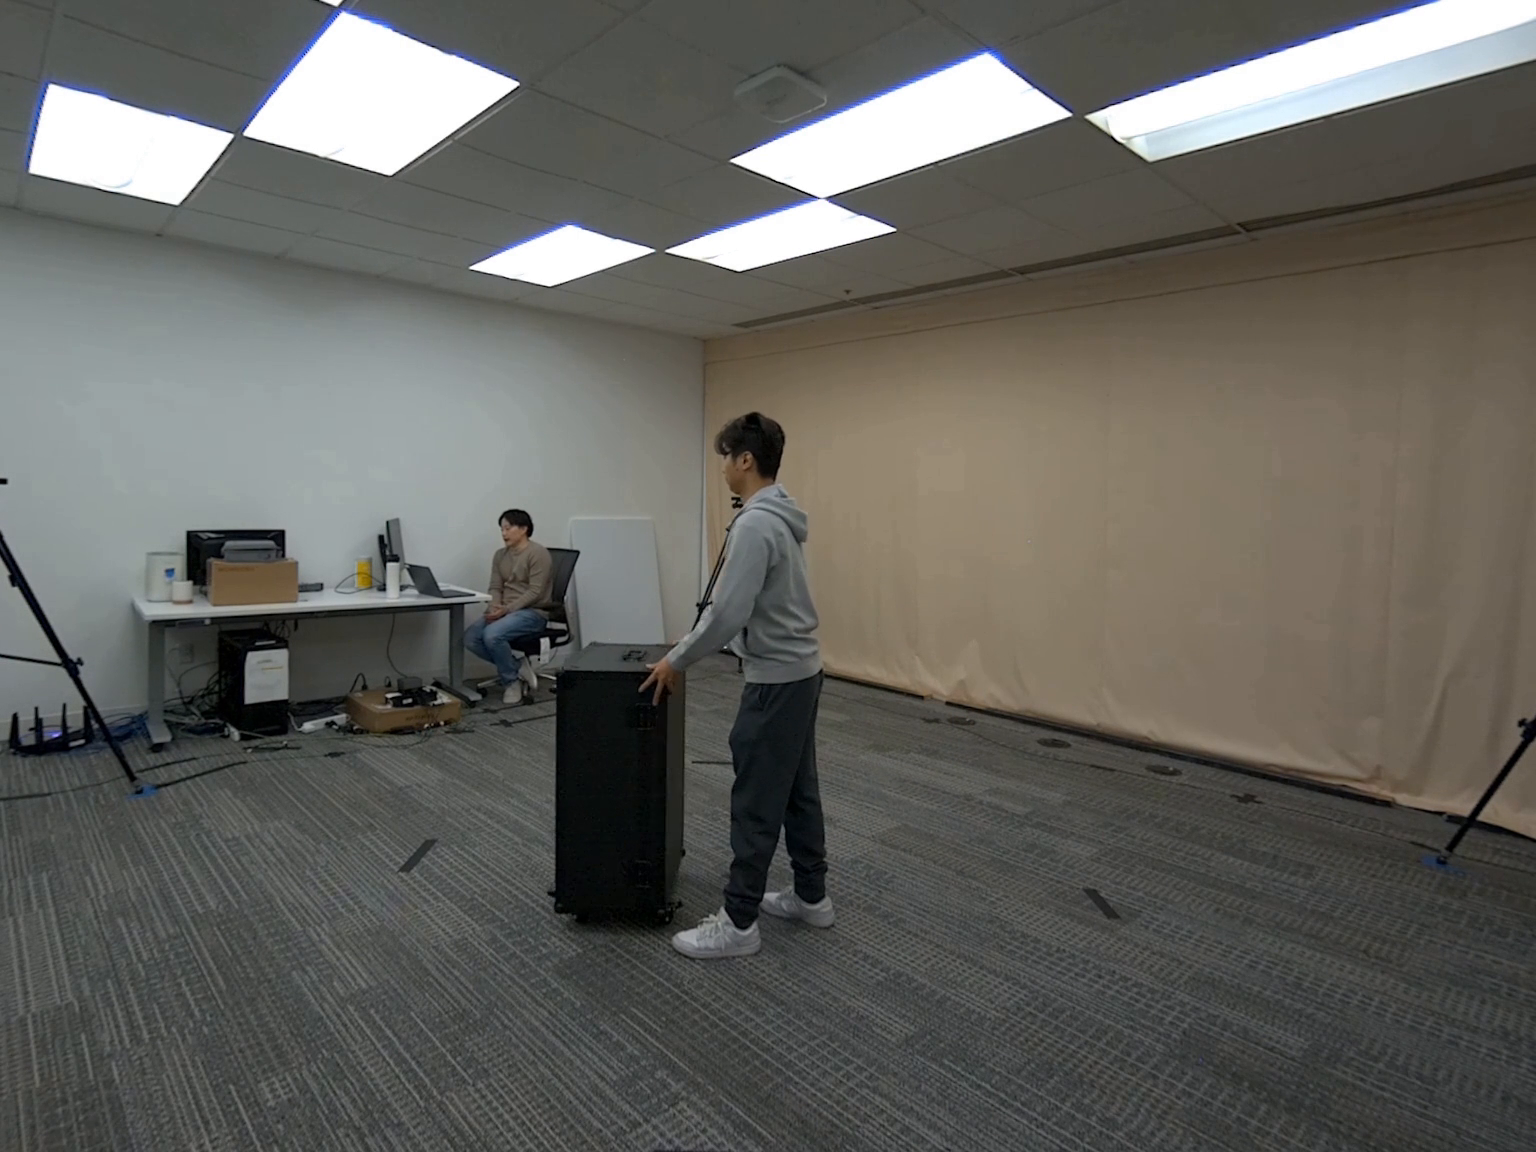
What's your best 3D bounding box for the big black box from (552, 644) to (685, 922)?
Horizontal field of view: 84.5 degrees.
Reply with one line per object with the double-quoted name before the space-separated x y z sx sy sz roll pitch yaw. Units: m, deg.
"big black box" -0.500 0.699 2.865 0.397 0.859 0.521 1 4 3
